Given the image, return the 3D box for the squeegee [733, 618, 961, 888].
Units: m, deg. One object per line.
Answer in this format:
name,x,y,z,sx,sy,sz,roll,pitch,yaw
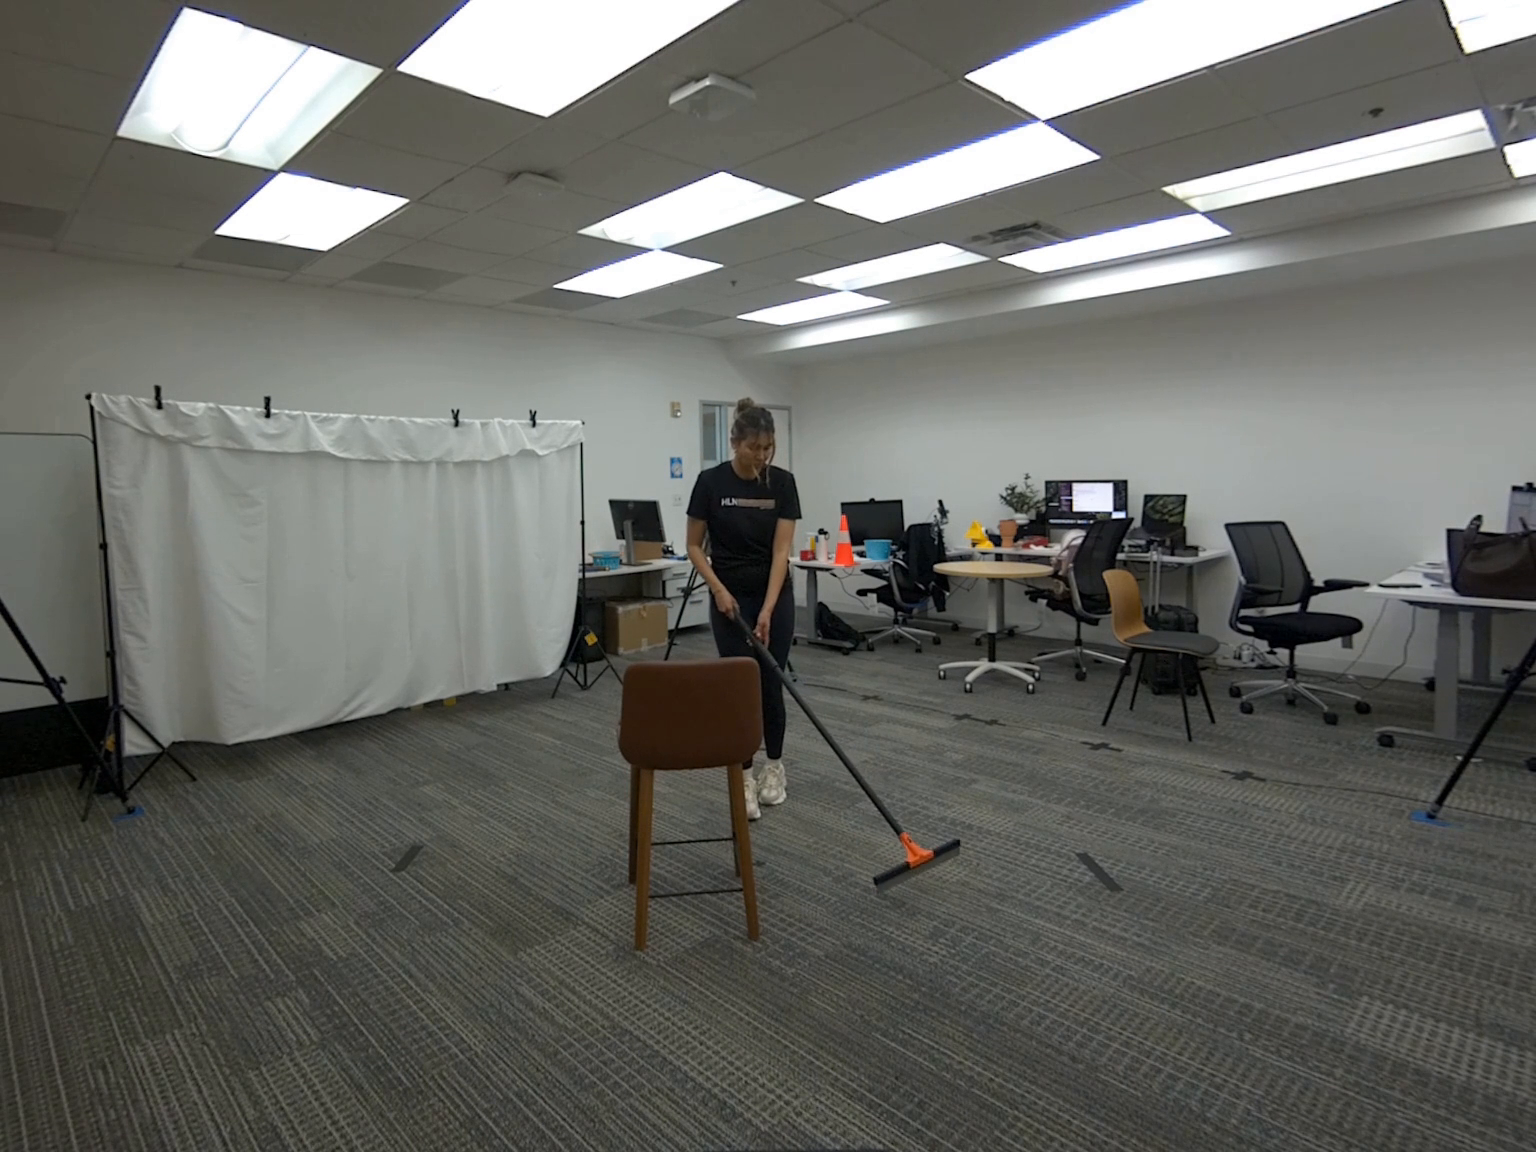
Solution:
squeegee,0.105,0.424,3.223,0.426,0.052,1.594,-5,45,-39
